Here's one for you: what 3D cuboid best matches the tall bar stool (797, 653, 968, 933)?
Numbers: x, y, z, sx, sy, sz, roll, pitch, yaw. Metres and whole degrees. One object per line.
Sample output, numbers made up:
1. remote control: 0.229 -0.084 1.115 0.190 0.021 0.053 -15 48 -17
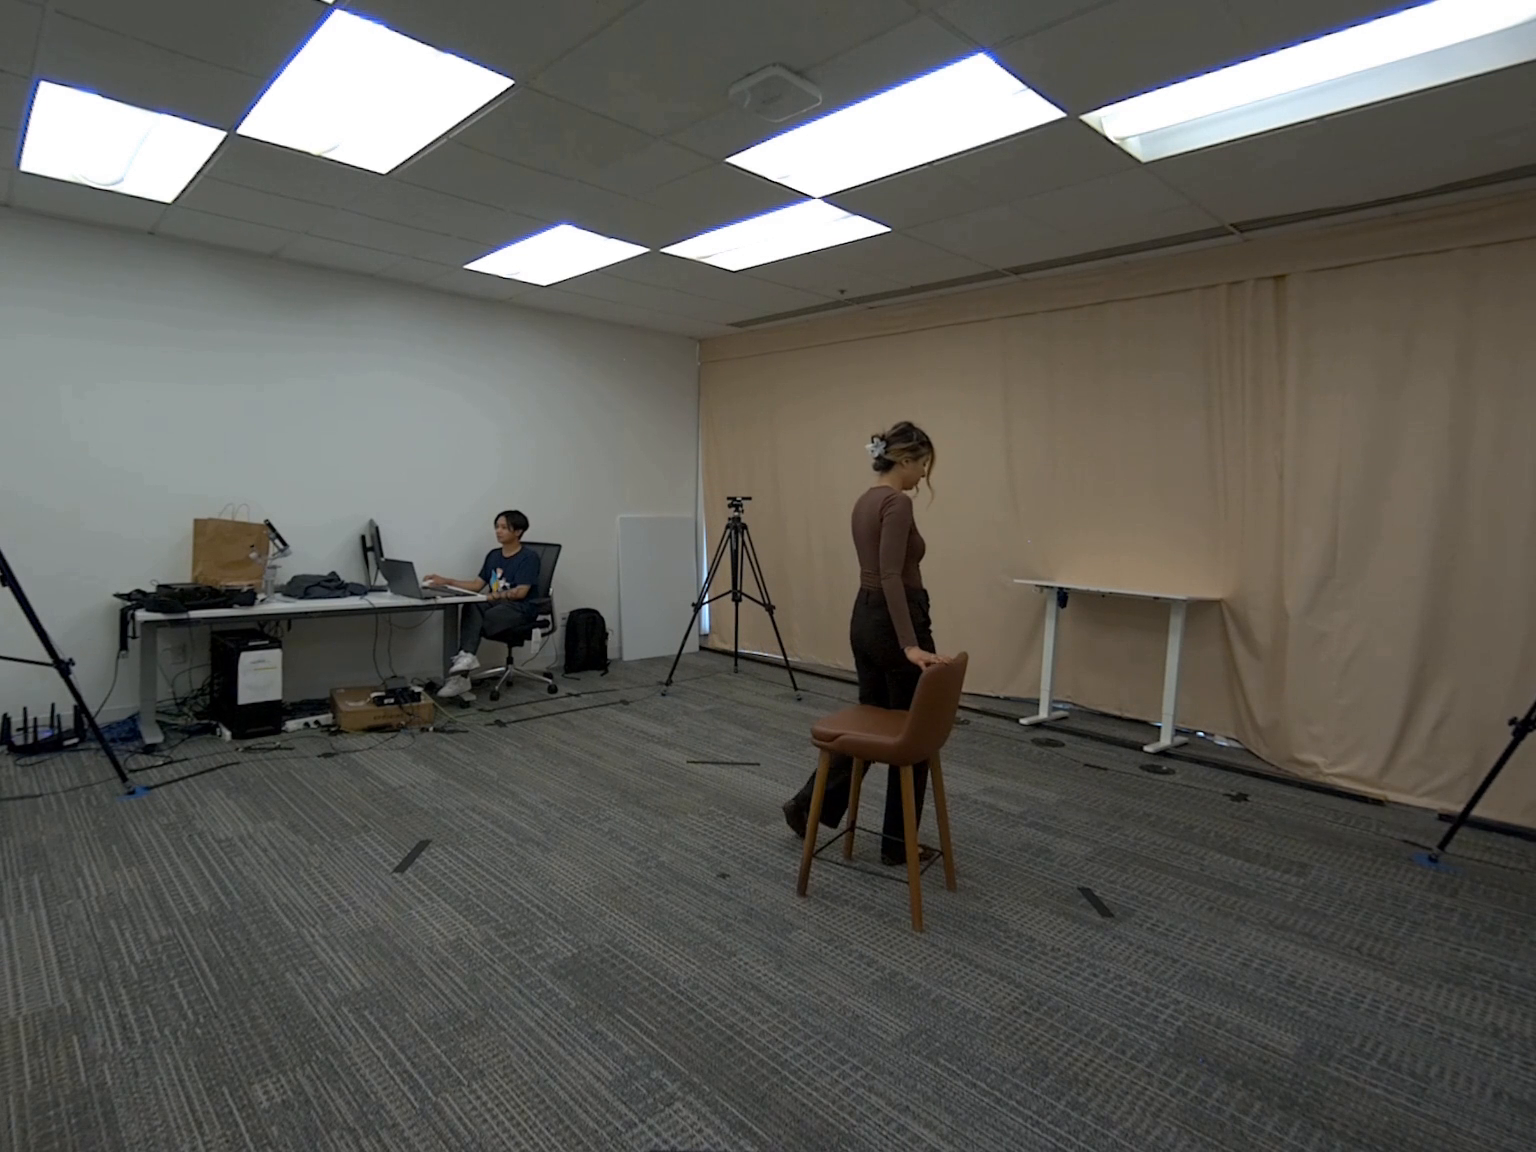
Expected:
1. tall bar stool: 0.402 0.696 2.973 0.478 0.887 0.447 5 5 32
